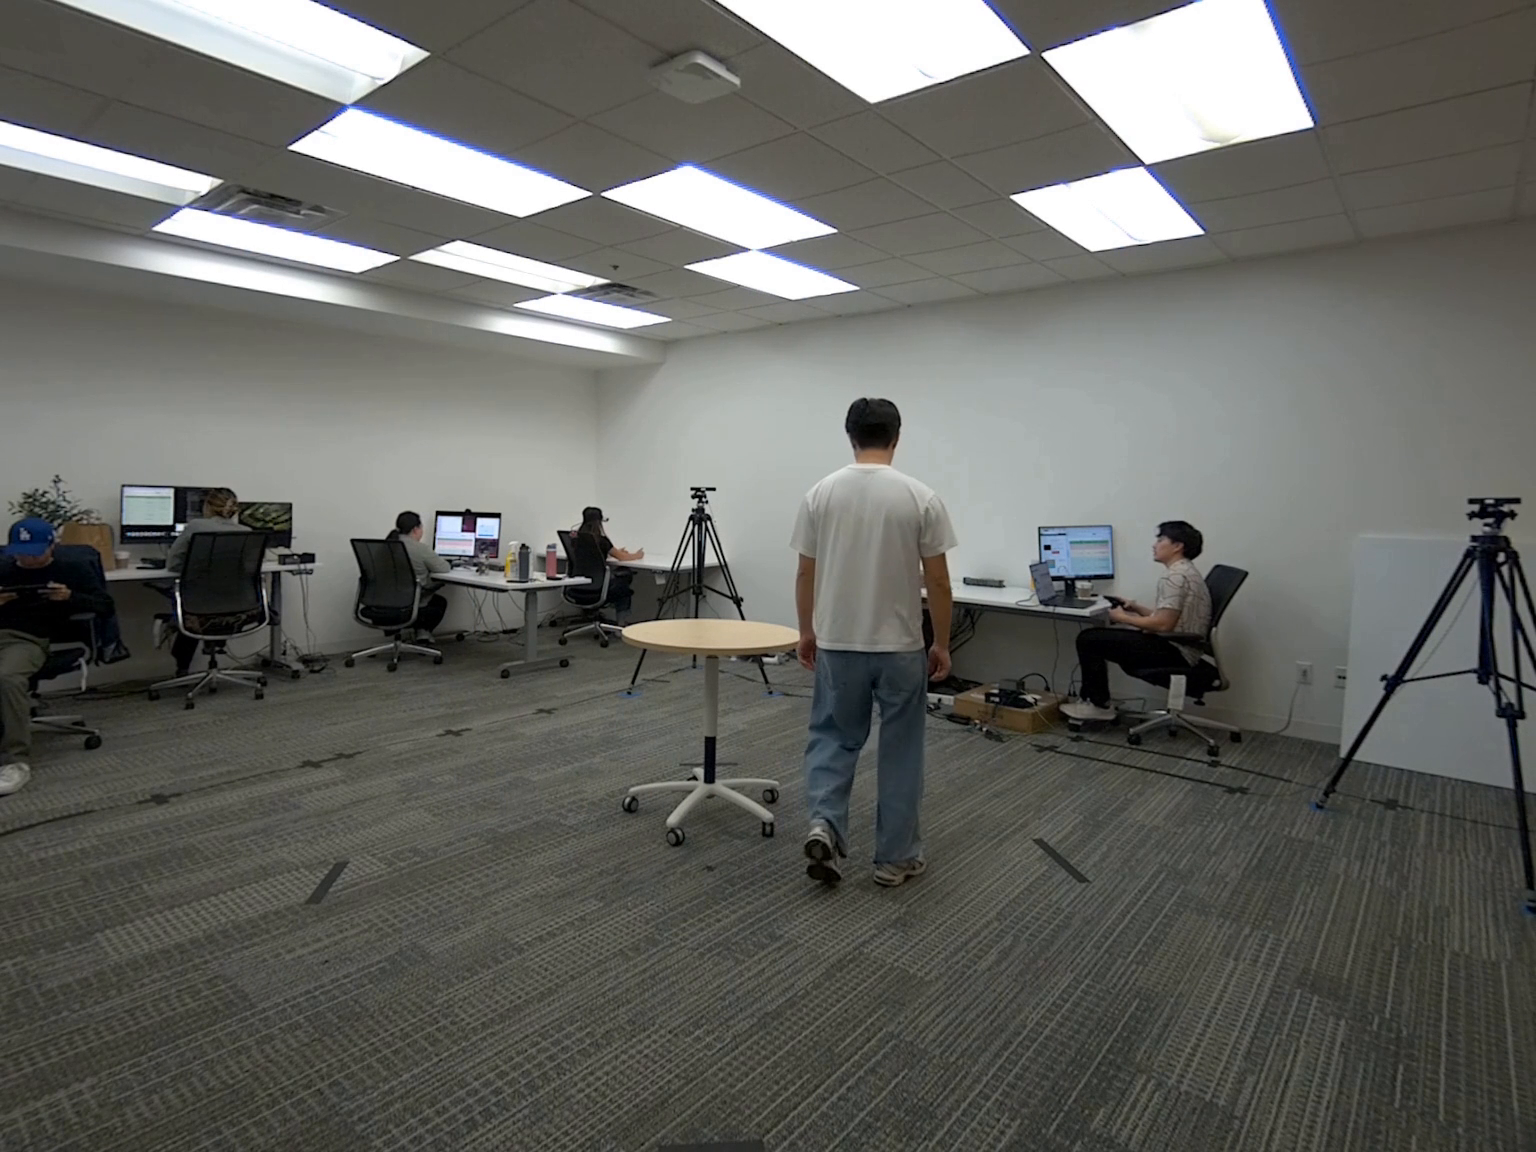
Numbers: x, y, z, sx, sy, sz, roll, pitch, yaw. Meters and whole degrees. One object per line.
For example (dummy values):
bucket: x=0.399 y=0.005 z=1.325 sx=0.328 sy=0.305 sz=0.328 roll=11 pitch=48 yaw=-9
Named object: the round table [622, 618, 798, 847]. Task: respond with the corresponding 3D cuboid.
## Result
round table: x=-0.244 y=0.624 z=3.611 sx=0.784 sy=0.784 sz=0.789 roll=1 pitch=4 yaw=-2
